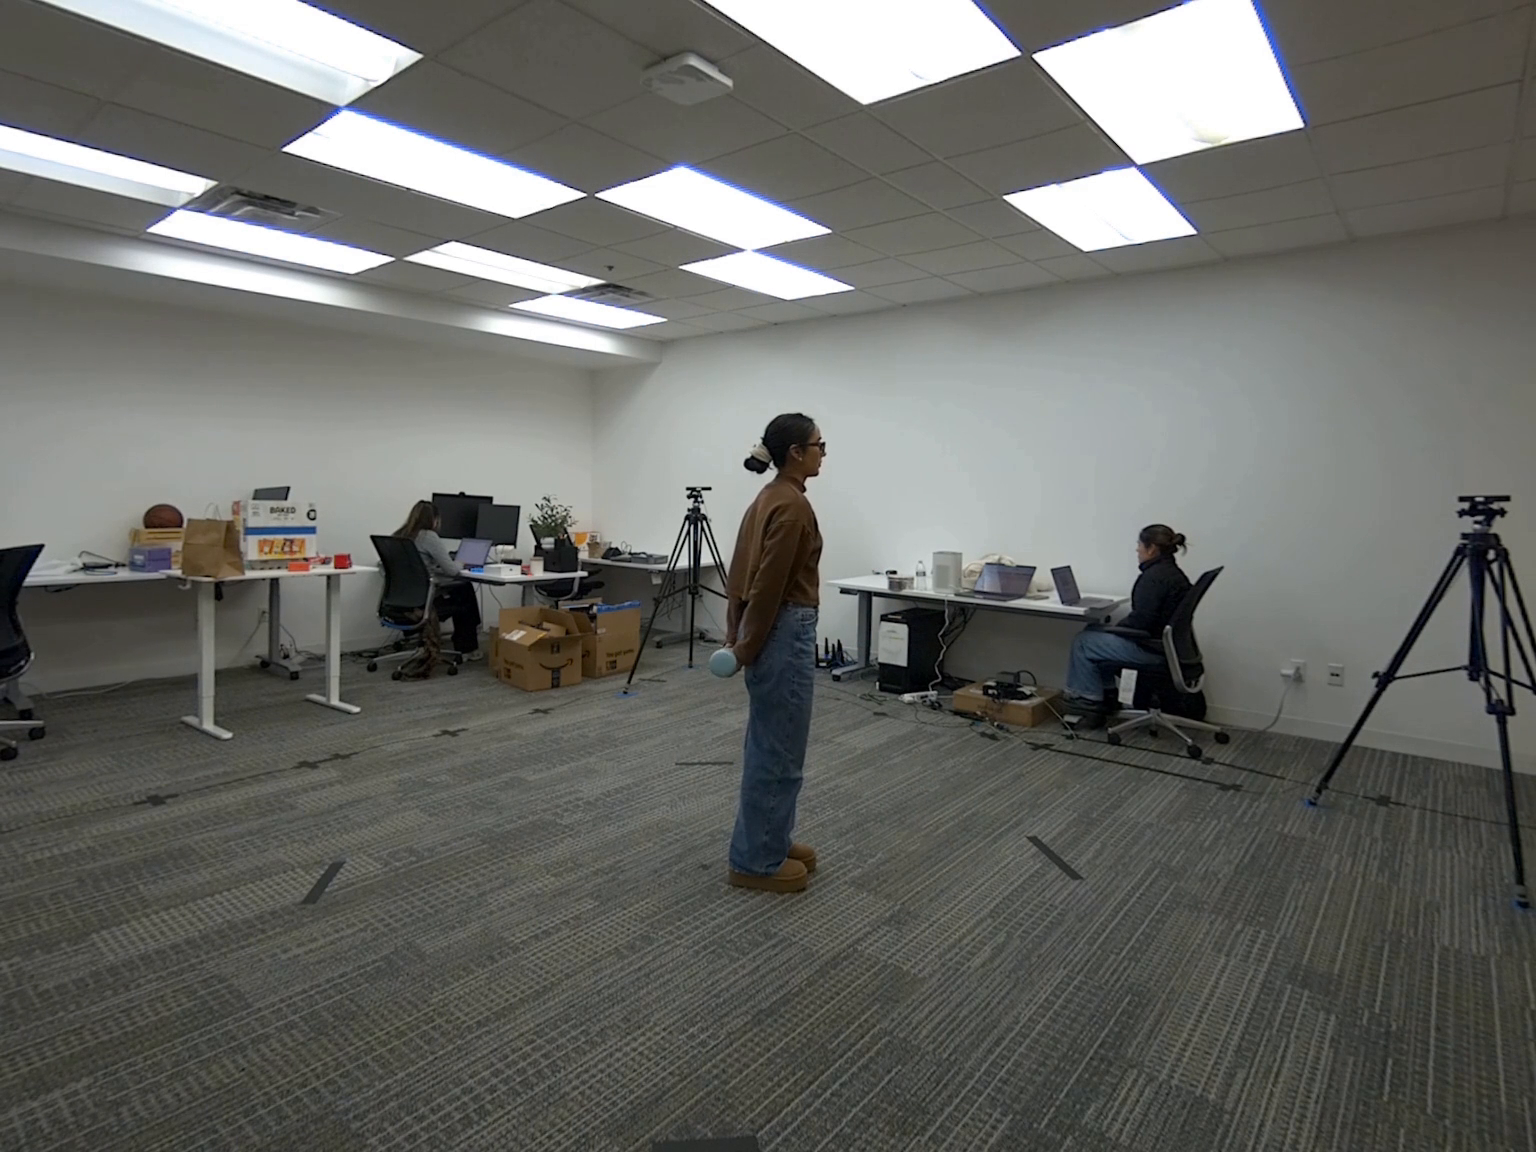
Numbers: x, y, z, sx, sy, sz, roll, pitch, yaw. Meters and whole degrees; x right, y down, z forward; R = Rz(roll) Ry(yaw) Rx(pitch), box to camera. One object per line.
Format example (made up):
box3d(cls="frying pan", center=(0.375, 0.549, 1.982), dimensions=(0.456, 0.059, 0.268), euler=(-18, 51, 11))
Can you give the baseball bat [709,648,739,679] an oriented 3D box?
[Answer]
box3d(cls="baseball bat", center=(-0.167, 0.289, 2.941), dimensions=(0.089, 0.089, 0.541), euler=(1, -3, -3))
